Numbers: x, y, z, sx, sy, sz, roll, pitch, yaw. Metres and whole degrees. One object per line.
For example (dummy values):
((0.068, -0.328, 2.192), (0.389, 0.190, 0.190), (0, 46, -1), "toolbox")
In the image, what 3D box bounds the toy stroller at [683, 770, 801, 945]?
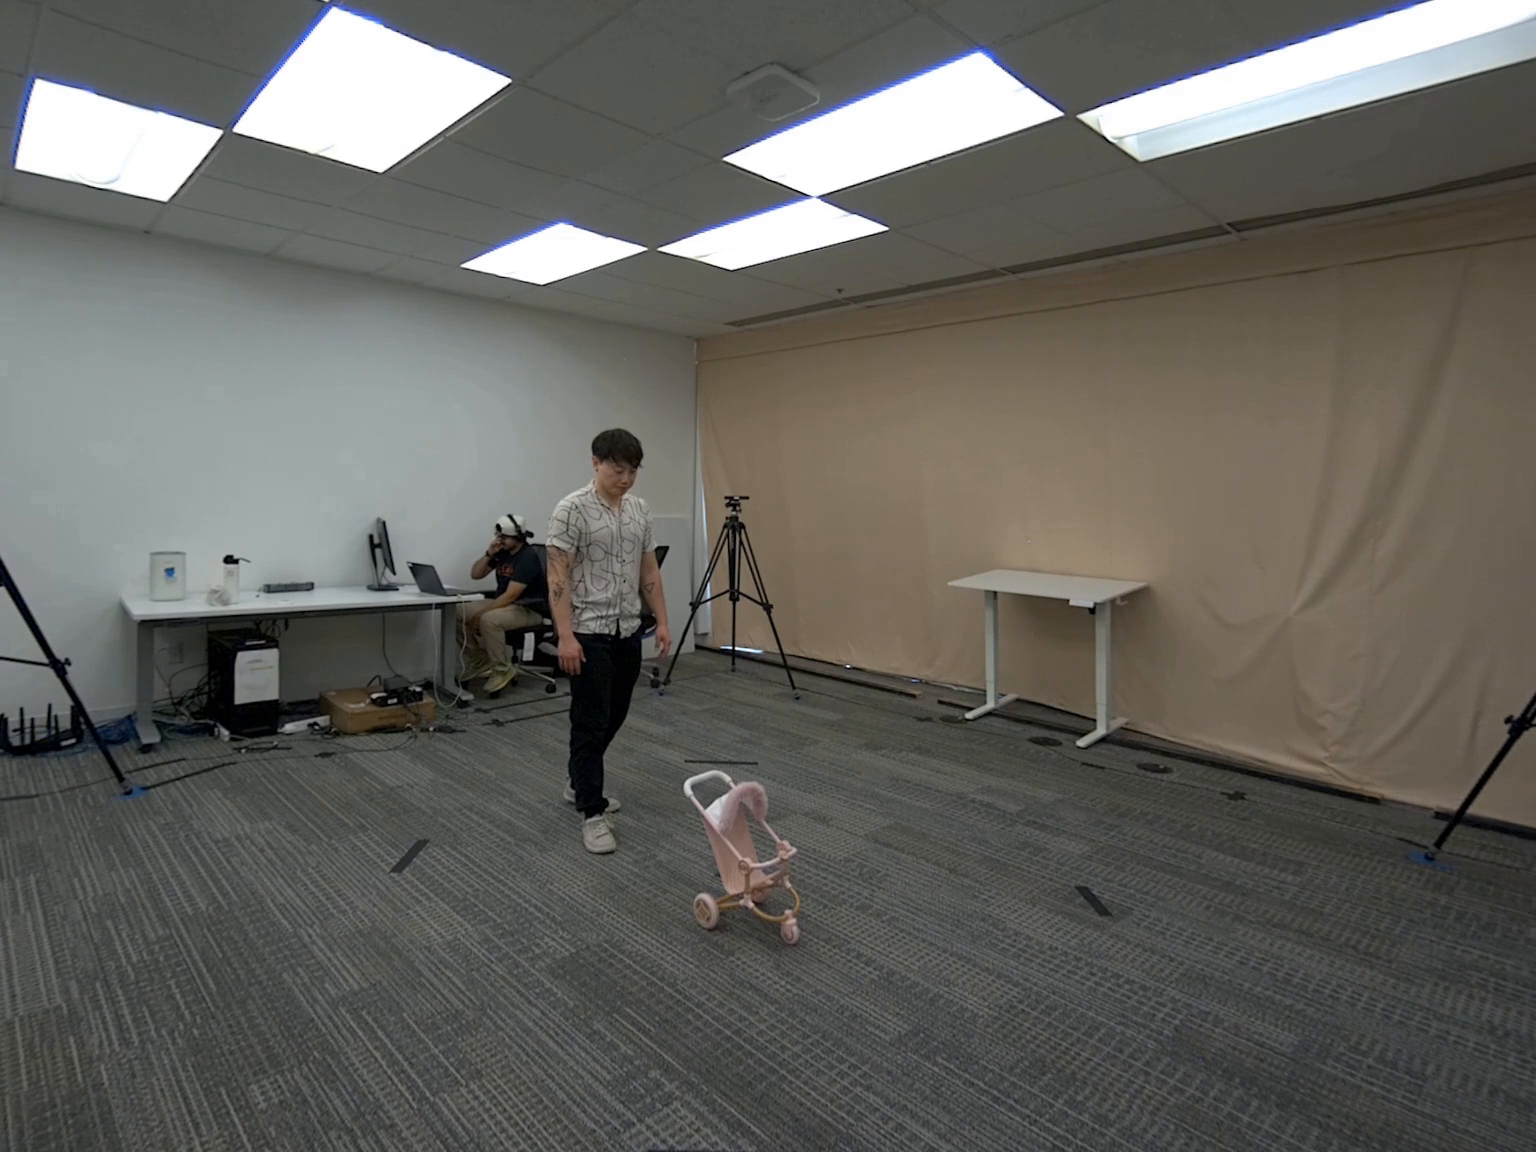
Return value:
((-0.072, 0.913, 2.751), (0.275, 0.538, 0.347), (-3, -10, -44), "toy stroller")
